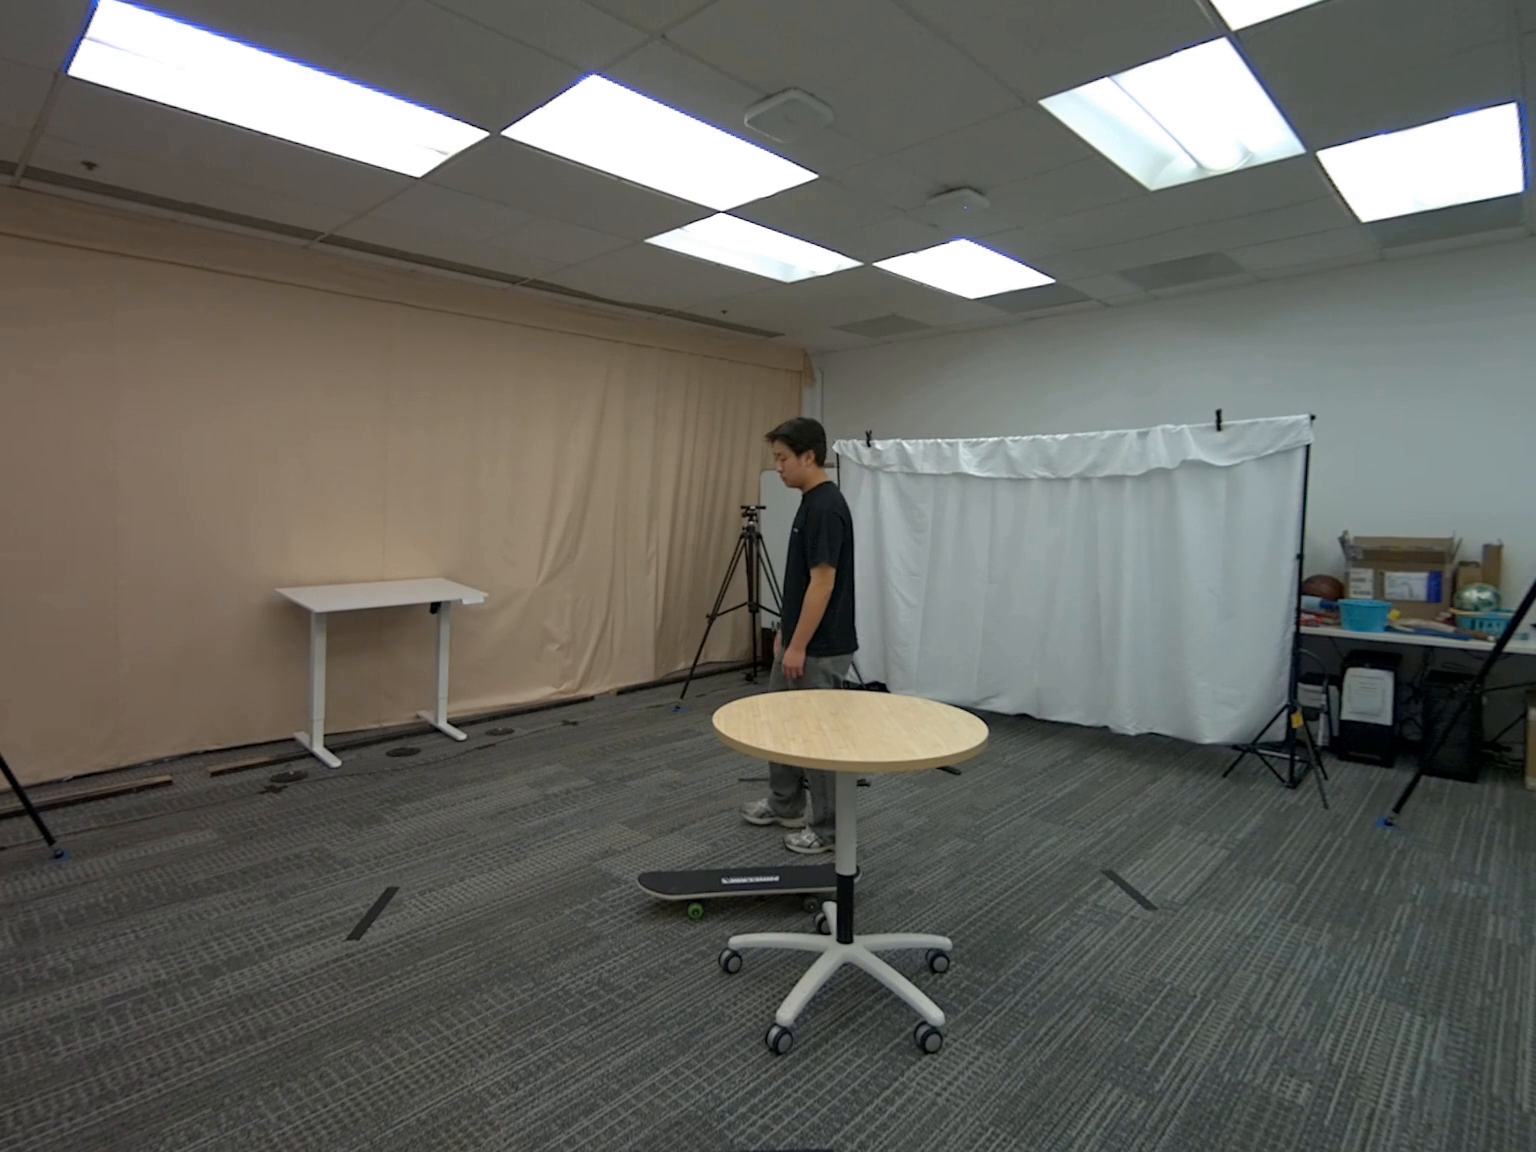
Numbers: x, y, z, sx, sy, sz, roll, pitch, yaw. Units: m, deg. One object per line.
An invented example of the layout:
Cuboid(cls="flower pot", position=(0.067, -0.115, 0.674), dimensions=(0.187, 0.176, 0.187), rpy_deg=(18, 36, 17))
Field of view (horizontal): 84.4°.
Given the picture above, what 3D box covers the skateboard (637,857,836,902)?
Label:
Cuboid(cls="skateboard", position=(-0.062, 1.094, 2.933), dimensions=(0.781, 0.110, 0.195), rpy_deg=(0, 5, -6))
